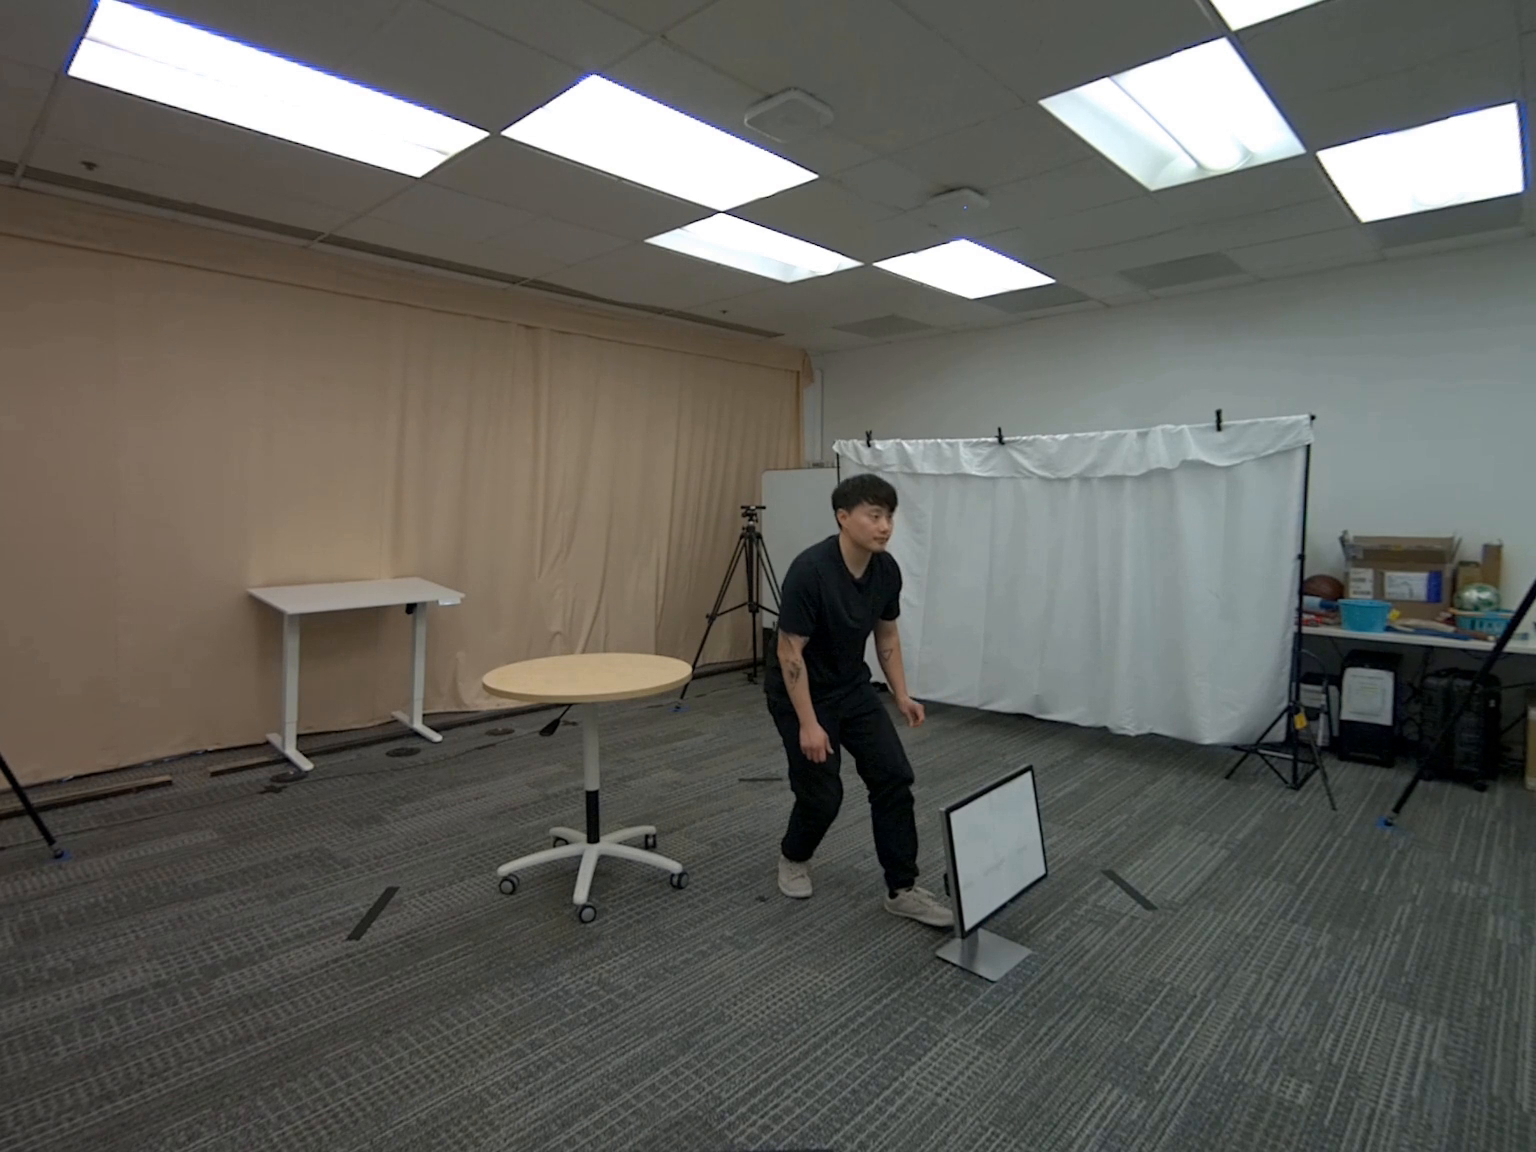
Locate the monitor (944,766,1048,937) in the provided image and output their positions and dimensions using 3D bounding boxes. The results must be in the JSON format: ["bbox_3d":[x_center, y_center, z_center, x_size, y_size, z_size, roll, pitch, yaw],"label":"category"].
[{"bbox_3d":[0.680,0.911,2.587,0.193,0.521,0.523,6,7,41],"label":"monitor"}]
